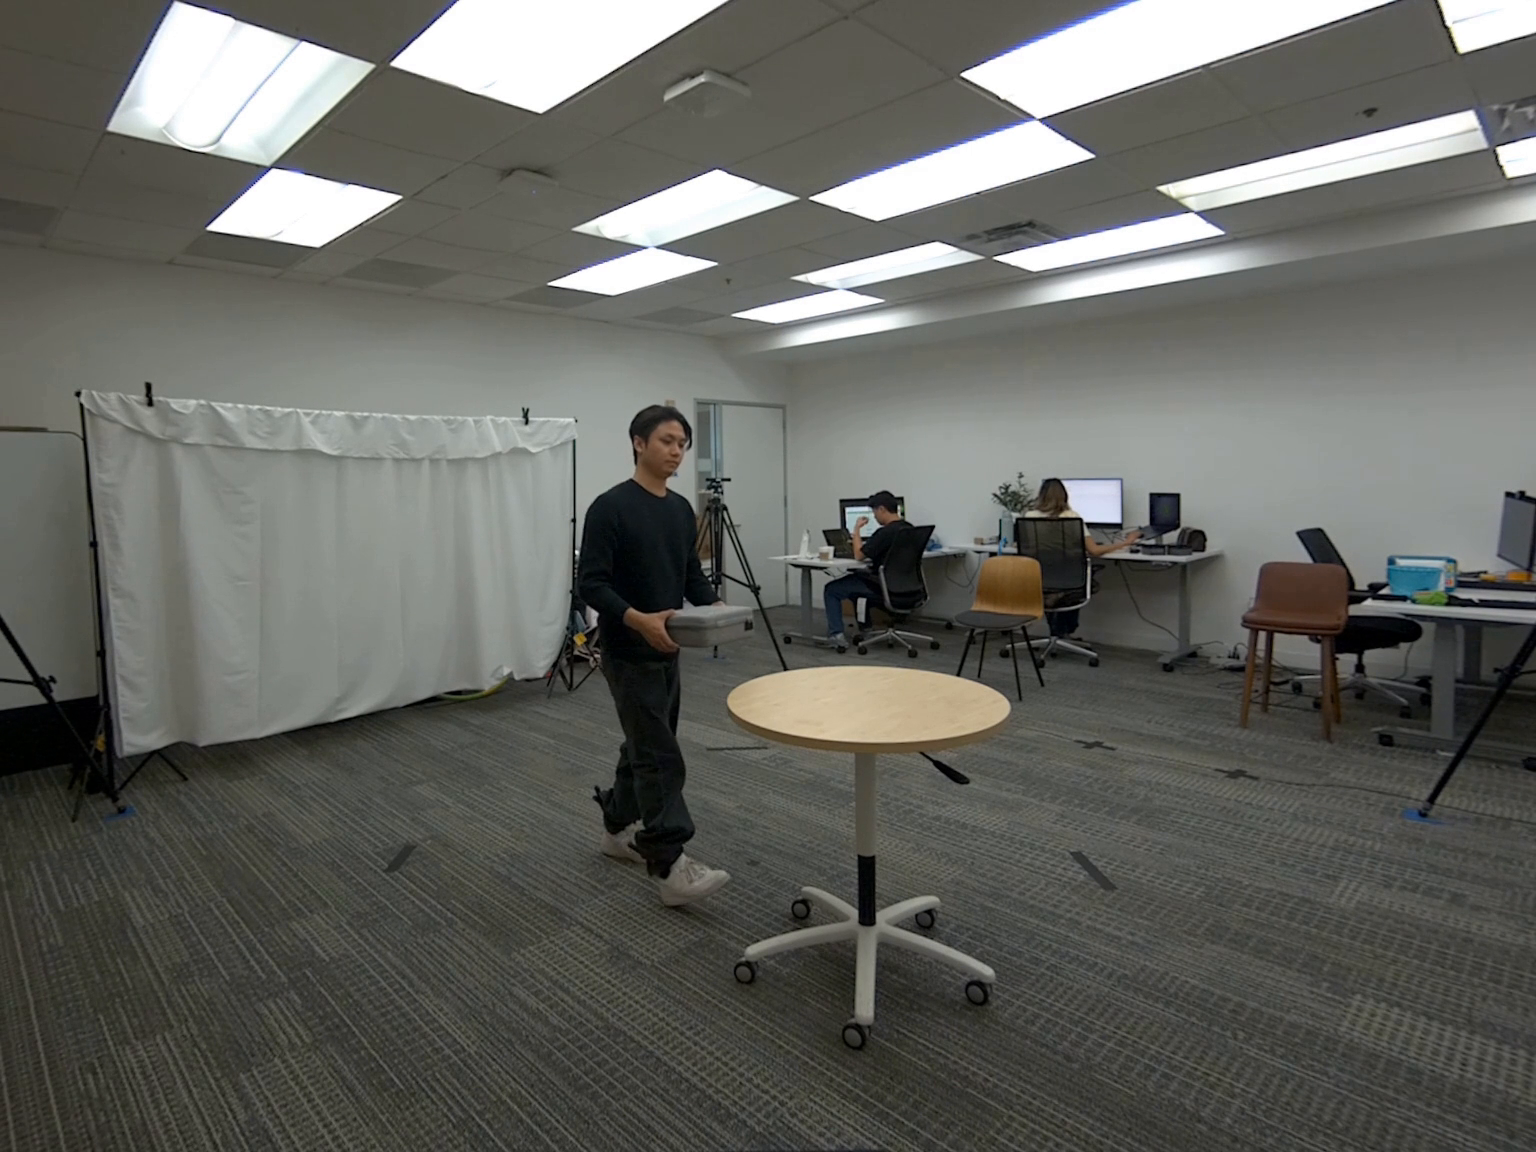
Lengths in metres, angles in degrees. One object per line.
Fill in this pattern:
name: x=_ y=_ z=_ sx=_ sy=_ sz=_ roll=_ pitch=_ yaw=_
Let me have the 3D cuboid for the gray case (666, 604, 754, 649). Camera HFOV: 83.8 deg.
gray case: x=-0.215 y=0.165 z=2.776 sx=0.268 sy=0.104 sz=0.250 roll=0 pitch=6 yaw=41
